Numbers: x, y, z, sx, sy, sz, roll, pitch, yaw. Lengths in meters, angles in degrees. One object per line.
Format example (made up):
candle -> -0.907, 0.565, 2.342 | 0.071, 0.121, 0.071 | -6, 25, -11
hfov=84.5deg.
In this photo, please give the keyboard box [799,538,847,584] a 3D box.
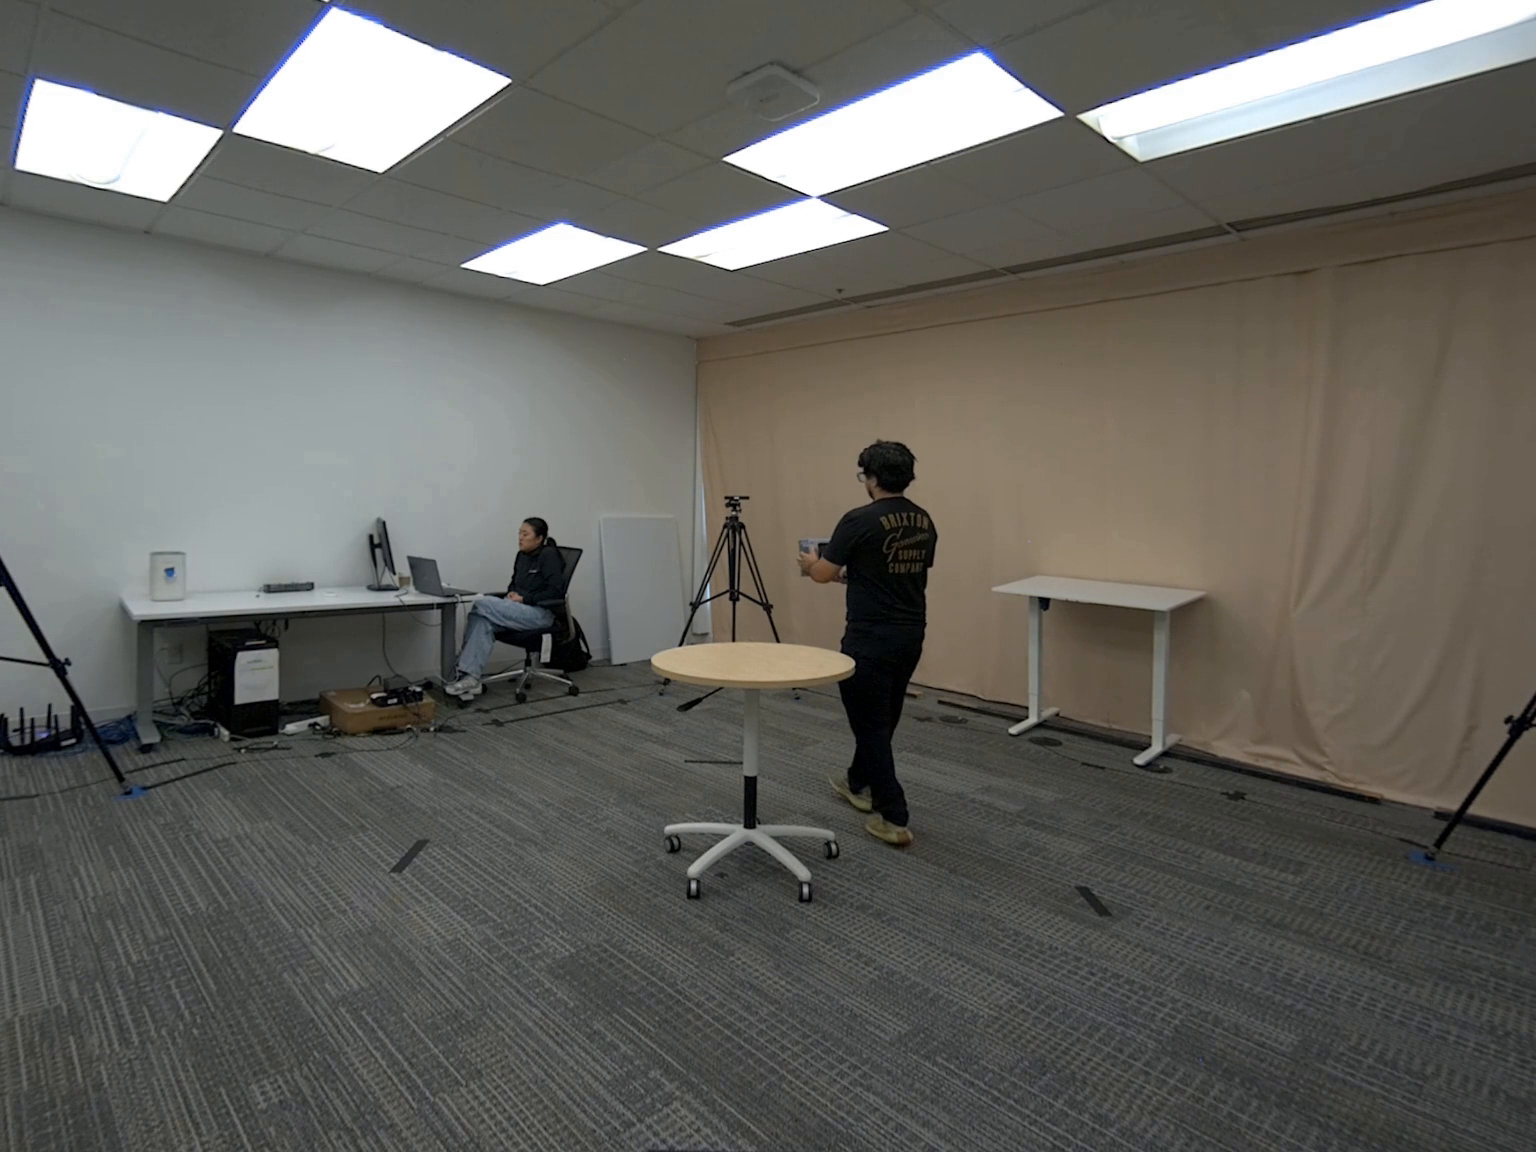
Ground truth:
keyboard box -> 0.342, -0.081, 3.837 | 0.447, 0.175, 0.058 | 0, 4, 37
